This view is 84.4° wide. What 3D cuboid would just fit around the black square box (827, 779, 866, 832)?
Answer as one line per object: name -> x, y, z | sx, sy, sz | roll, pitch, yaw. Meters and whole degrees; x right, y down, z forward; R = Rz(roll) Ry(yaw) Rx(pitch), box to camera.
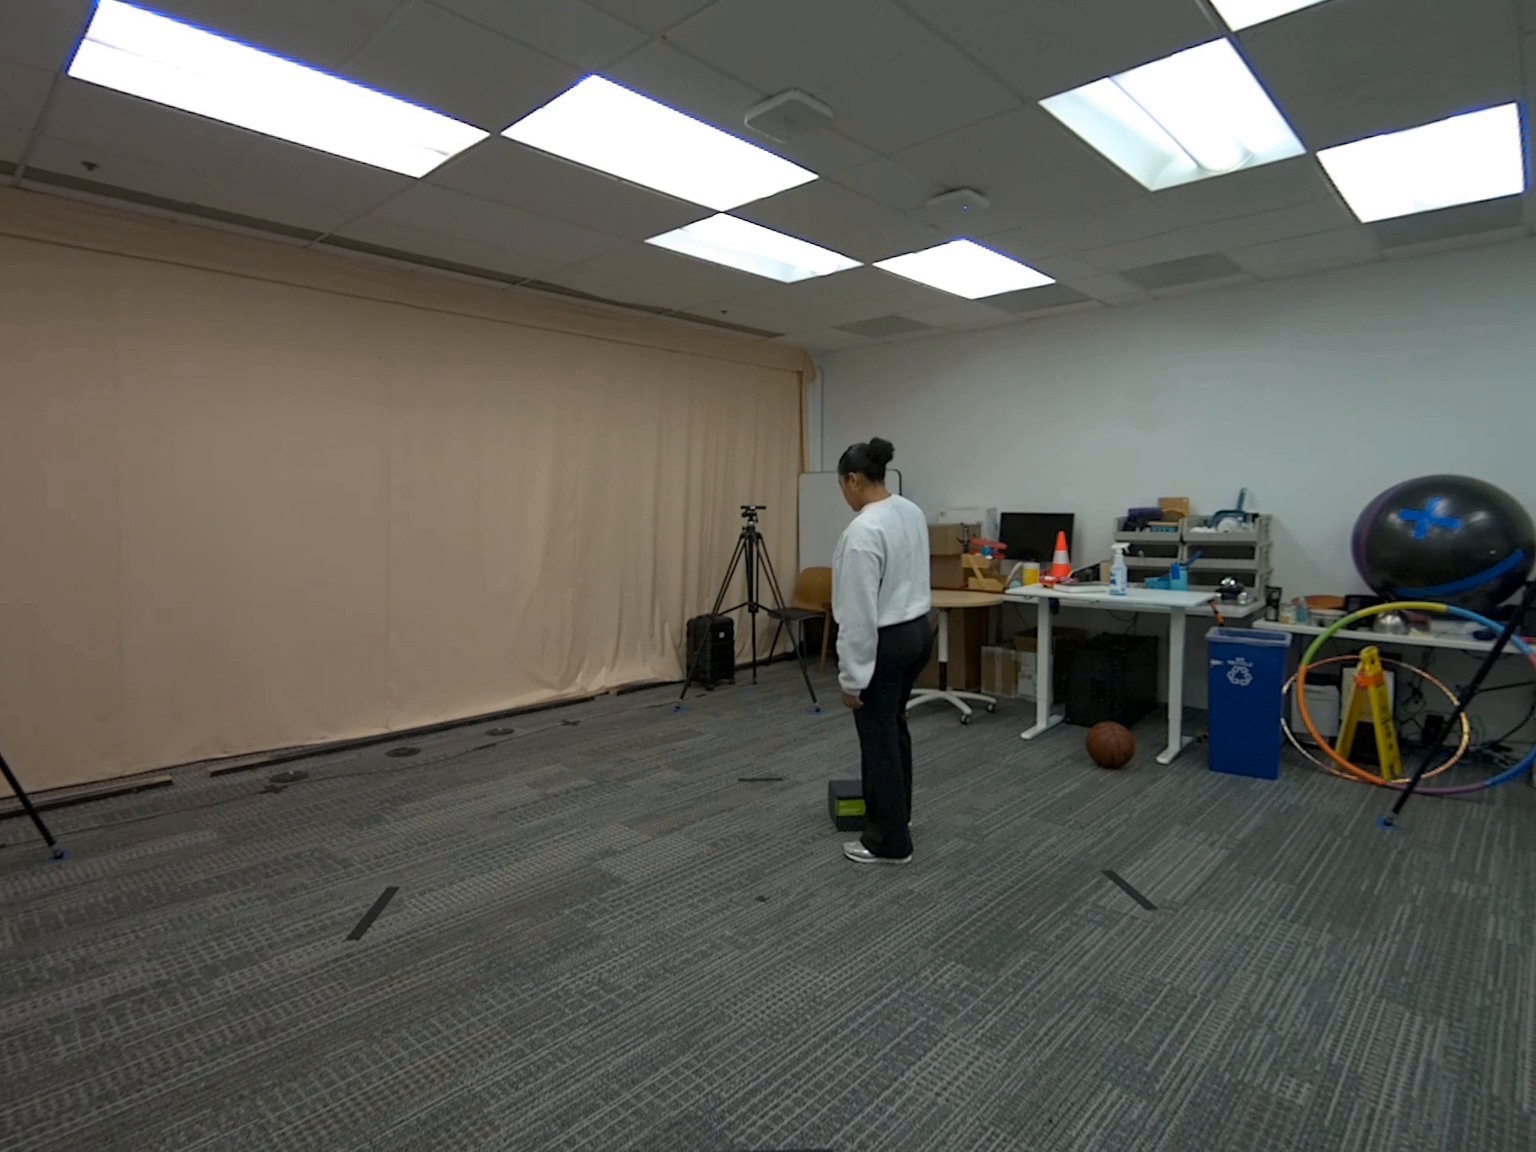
black square box -> 0.384, 1.004, 3.700 | 0.227, 0.155, 0.218 | 0, 4, -5
